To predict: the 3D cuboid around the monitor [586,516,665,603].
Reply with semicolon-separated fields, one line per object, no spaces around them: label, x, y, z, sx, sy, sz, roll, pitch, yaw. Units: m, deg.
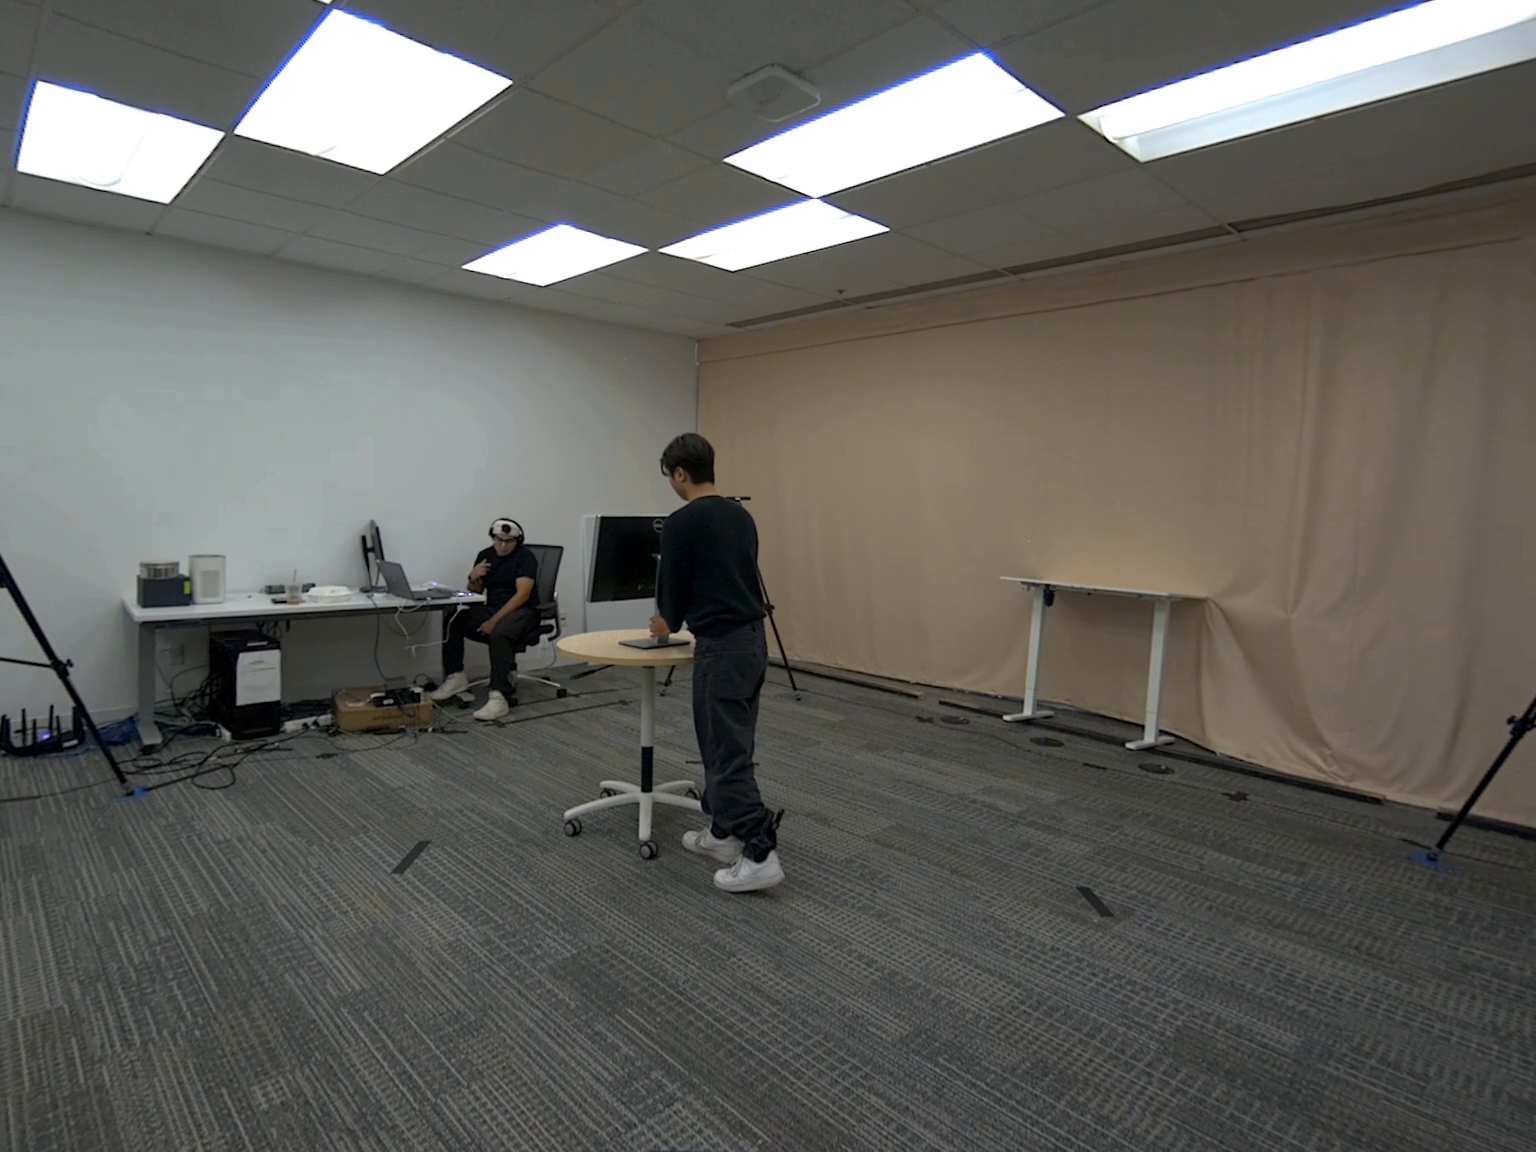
monitor;-0.476;0.014;3.507;0.518;0.515;0.178;-5;2;-43
